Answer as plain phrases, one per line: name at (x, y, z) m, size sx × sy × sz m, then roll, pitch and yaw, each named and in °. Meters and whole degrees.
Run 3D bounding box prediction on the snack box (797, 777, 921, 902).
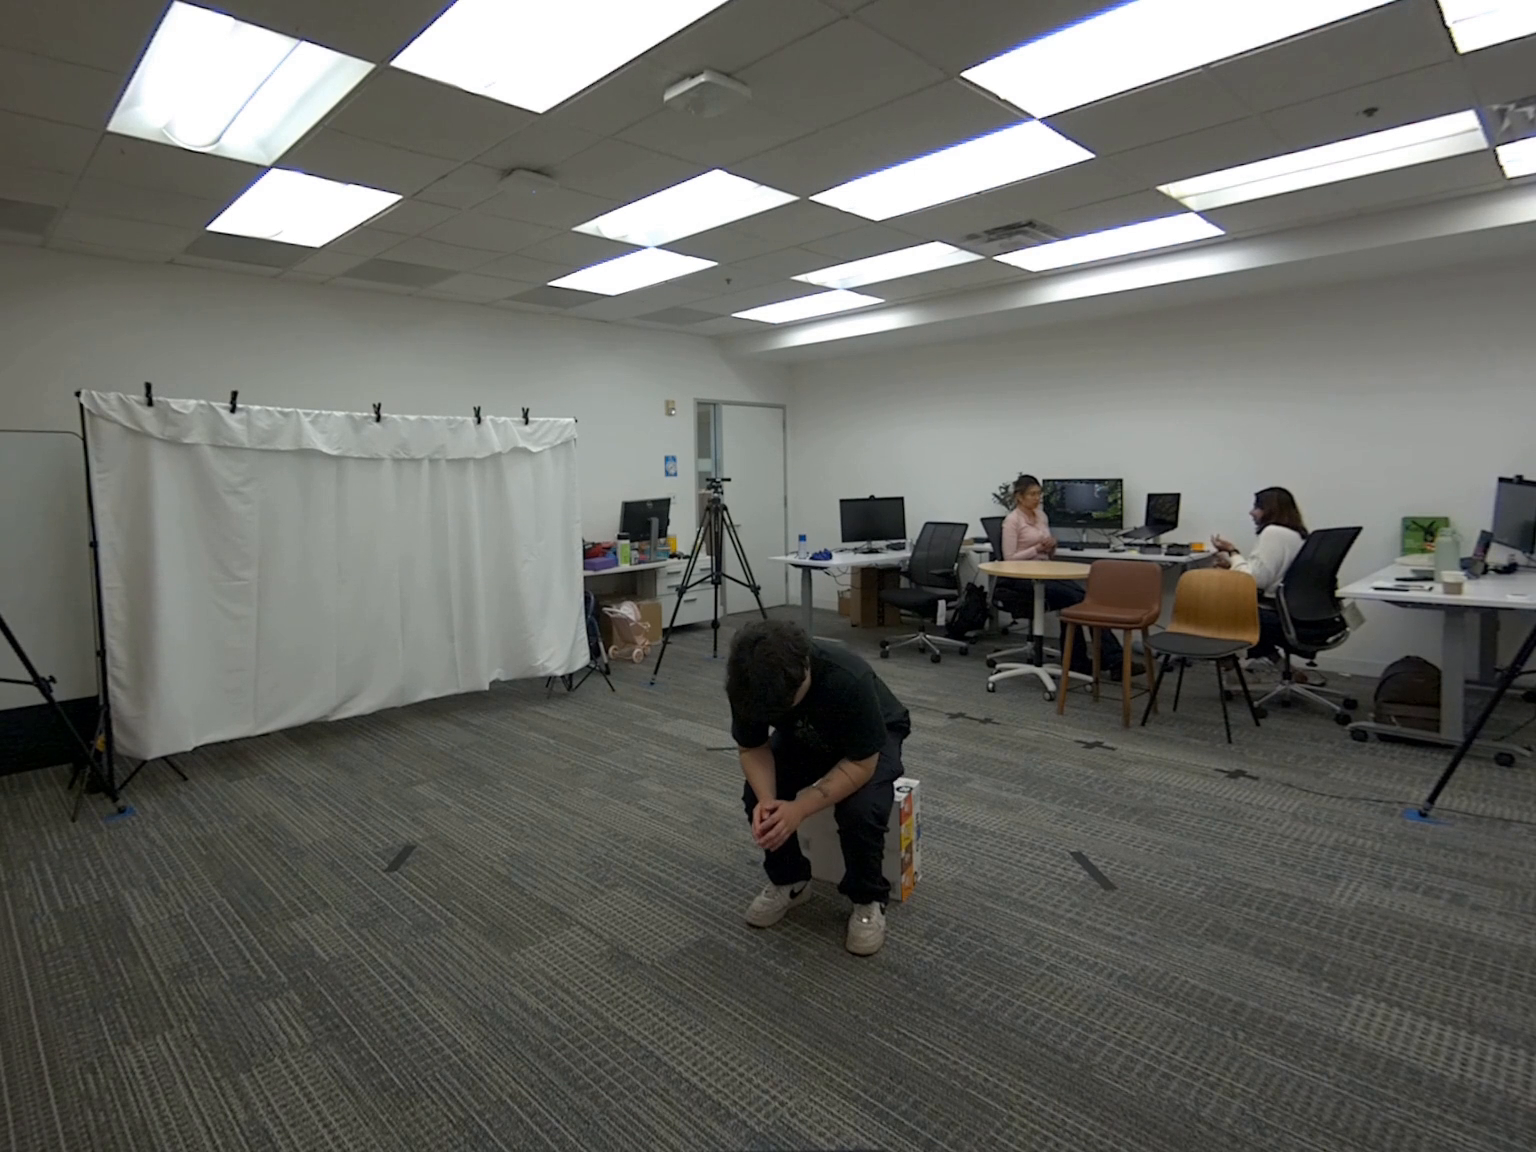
snack box at (0.310, 0.881, 2.982) m, size 0.416 × 0.339 × 0.201 m, roll 1°, pitch 5°, yaw 30°
